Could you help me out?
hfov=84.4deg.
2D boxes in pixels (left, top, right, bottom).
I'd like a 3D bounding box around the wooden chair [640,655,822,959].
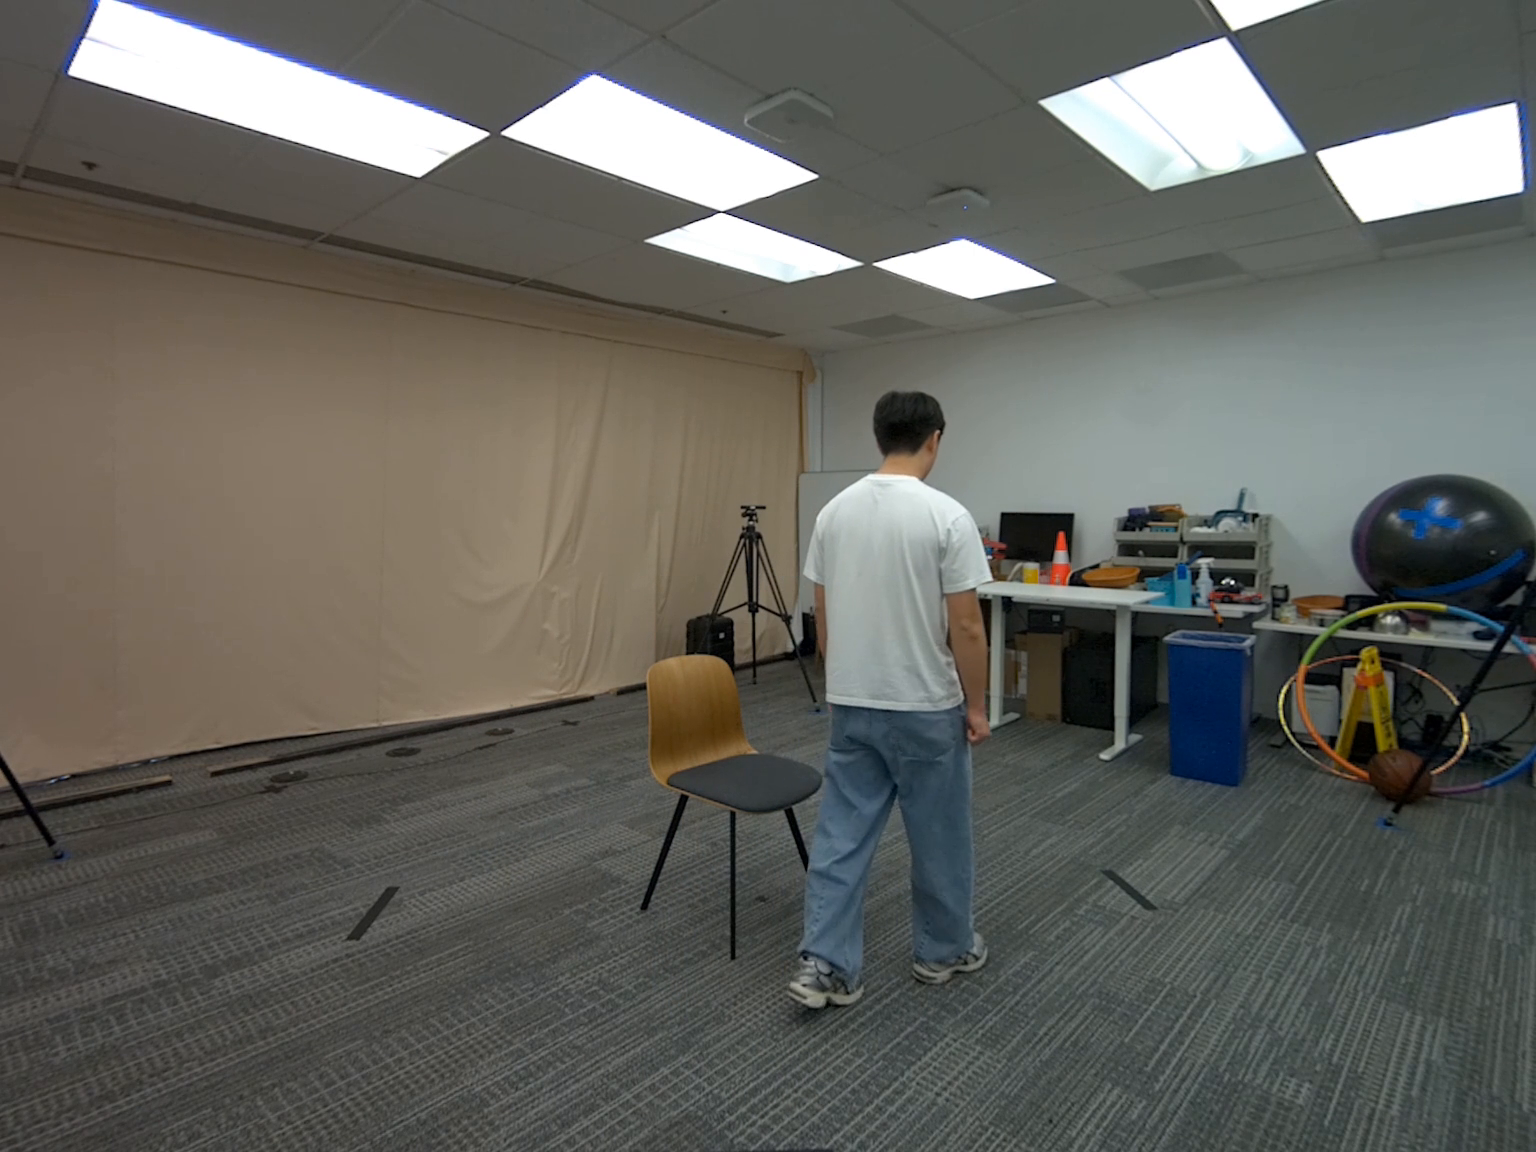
[{"bbox_3d":[-0.116,0.729,2.860,0.539,0.877,0.463,-3,1,45],"label":"wooden chair"}]
